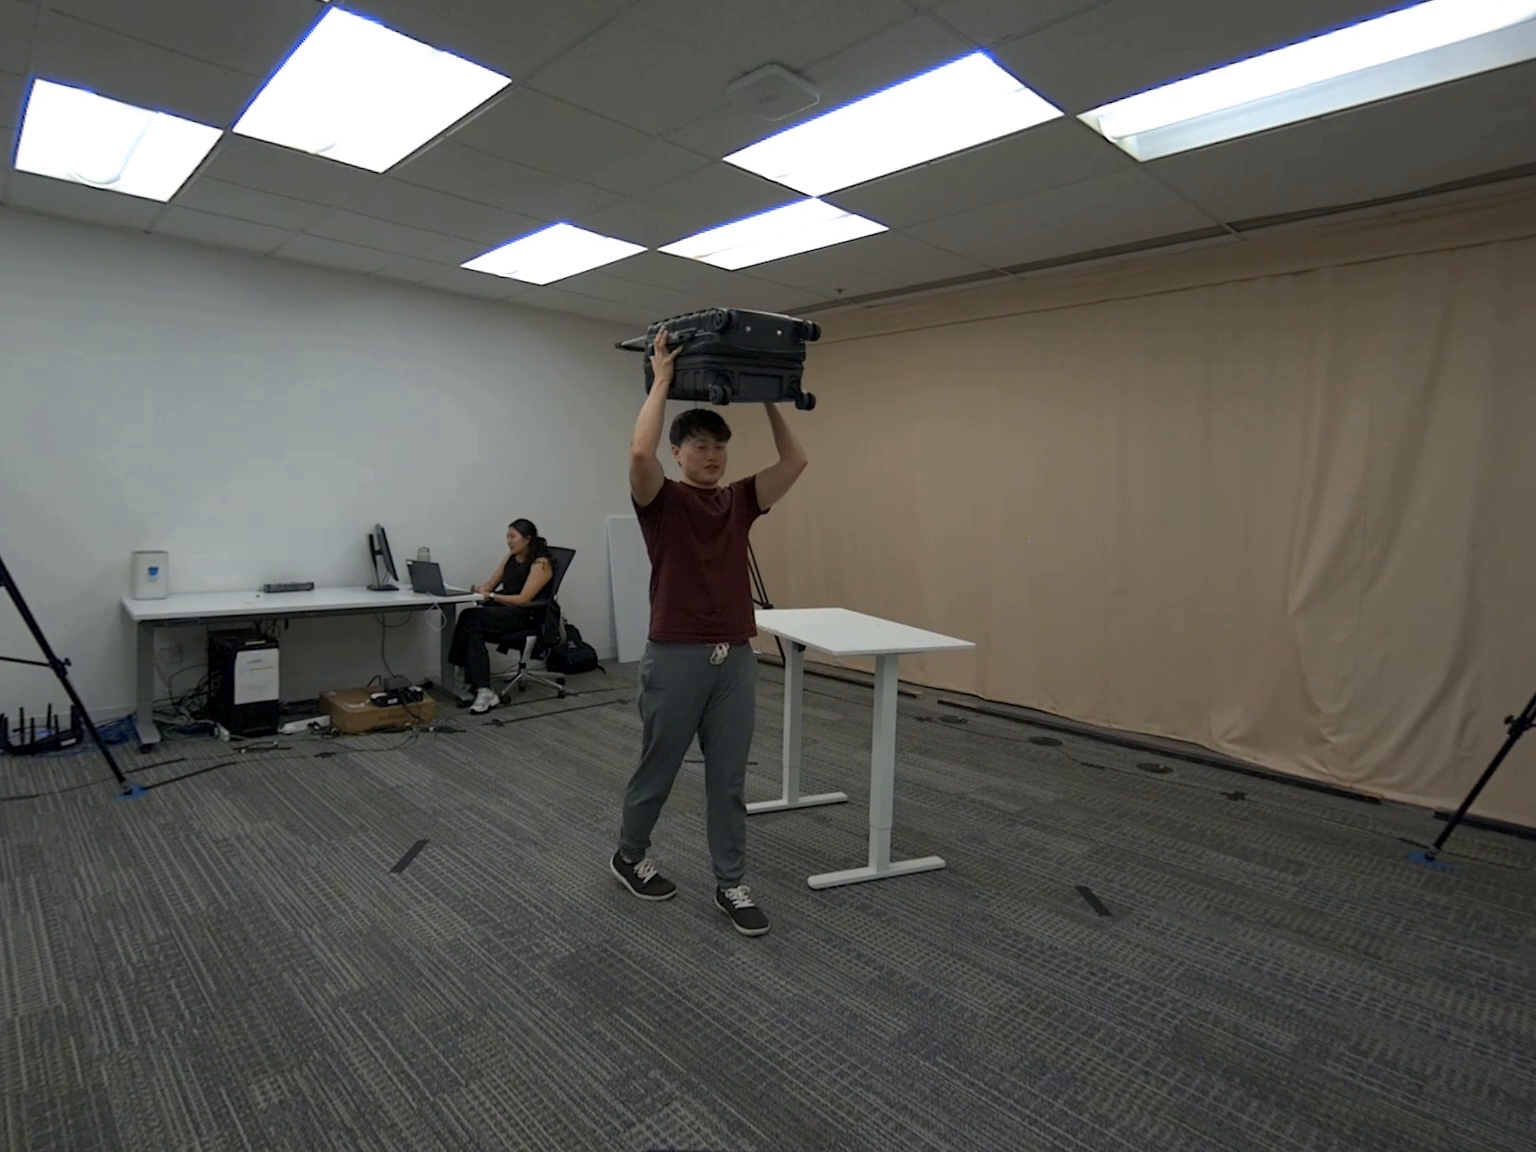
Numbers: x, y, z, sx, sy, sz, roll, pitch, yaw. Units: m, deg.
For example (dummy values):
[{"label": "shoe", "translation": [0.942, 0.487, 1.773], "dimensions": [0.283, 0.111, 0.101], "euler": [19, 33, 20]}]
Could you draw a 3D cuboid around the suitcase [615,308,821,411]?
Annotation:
[{"label": "suitcase", "translation": [-0.258, -0.700, 2.805], "dimensions": [0.376, 0.255, 1.004], "euler": [-3, 11, -31]}]
